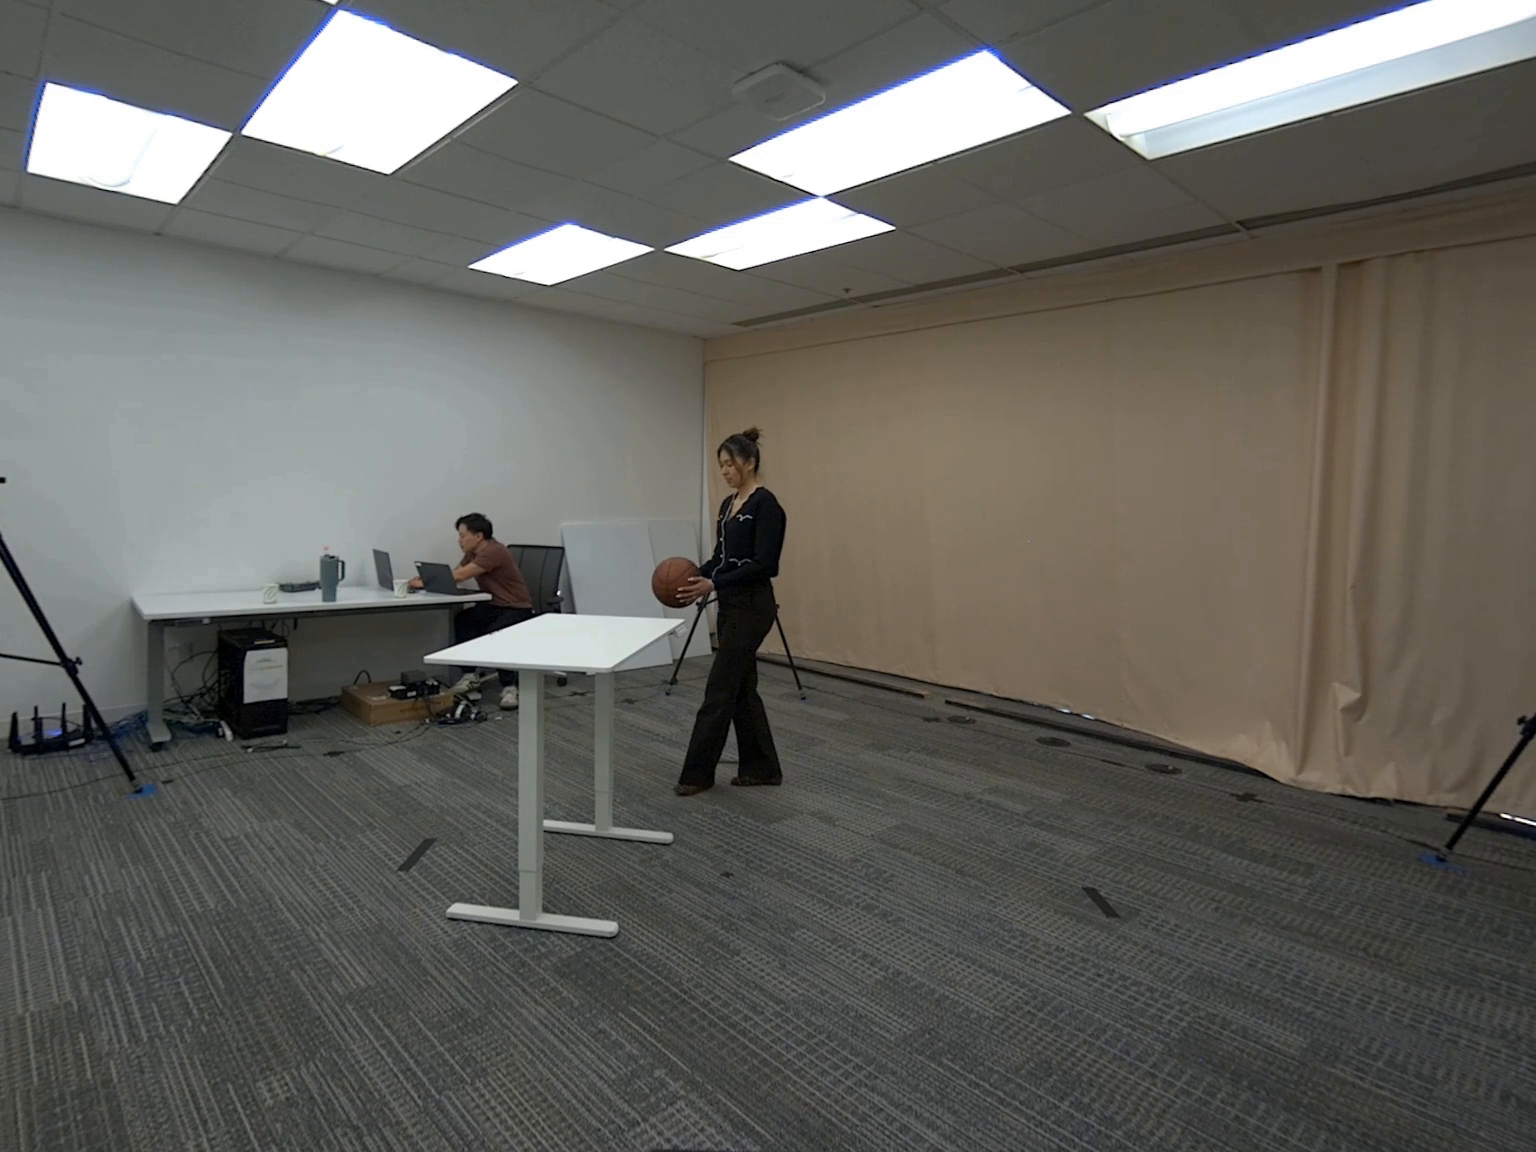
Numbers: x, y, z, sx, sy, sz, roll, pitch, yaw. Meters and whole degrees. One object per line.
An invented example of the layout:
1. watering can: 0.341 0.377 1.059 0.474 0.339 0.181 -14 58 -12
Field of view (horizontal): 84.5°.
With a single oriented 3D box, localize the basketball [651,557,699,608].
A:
1. basketball: -0.425 0.029 3.865 0.236 0.235 0.237 1 4 -1
